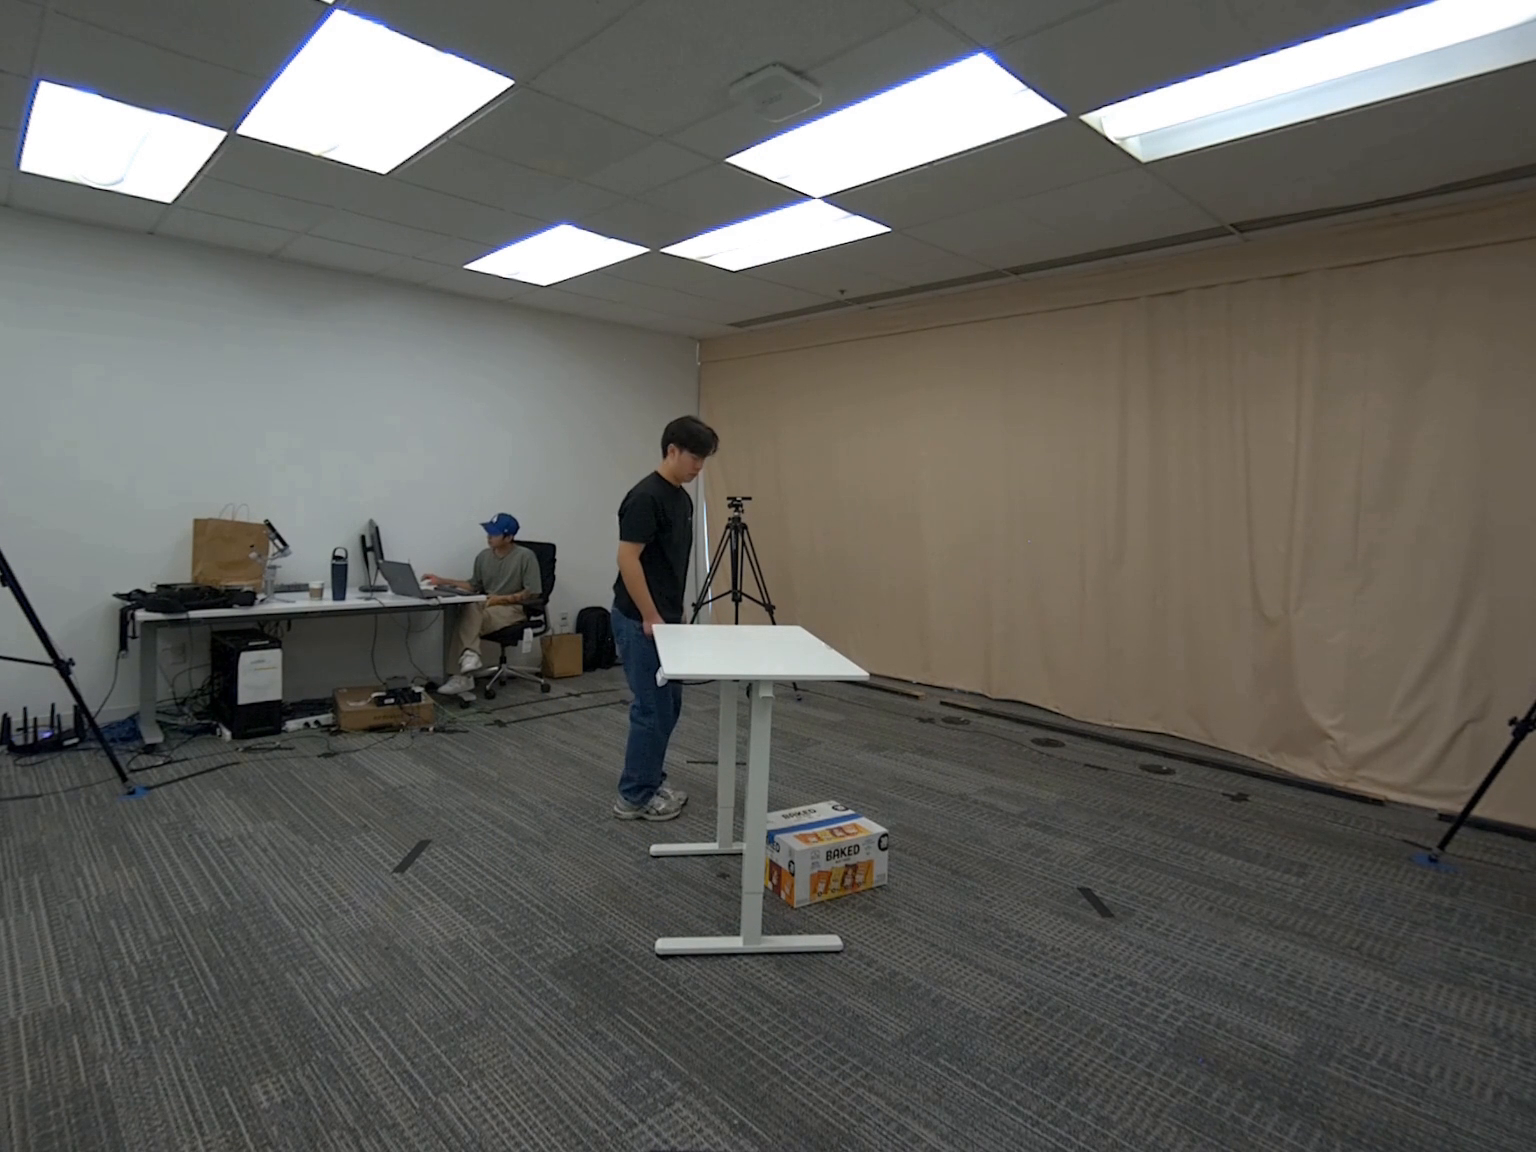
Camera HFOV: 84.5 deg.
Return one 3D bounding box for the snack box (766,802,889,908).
[{"bbox_3d":[0.174,1.014,3.096,0.397,0.205,0.348,-2,5,-30],"label":"snack box"}]
